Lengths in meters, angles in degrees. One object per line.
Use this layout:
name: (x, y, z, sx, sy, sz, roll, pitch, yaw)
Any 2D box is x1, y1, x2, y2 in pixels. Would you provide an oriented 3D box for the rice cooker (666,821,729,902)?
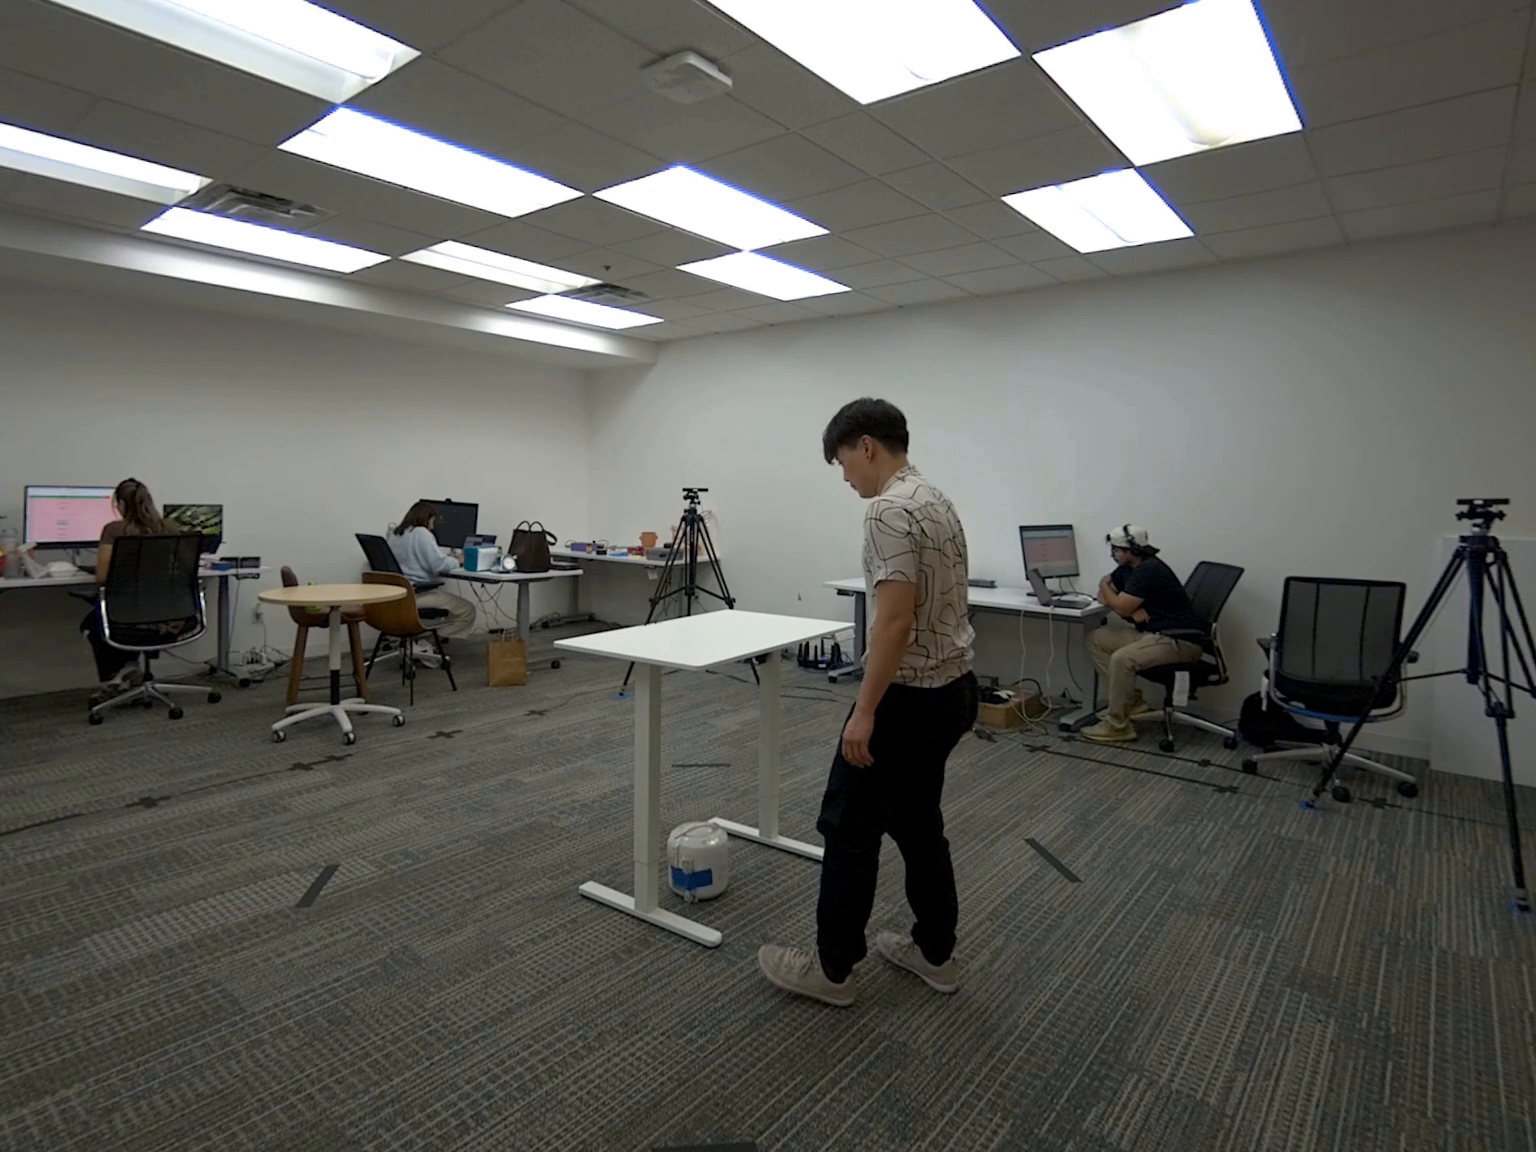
rice cooker: (-0.250, 0.968, 2.948, 0.215, 0.232, 0.224, -1, 5, -31)
